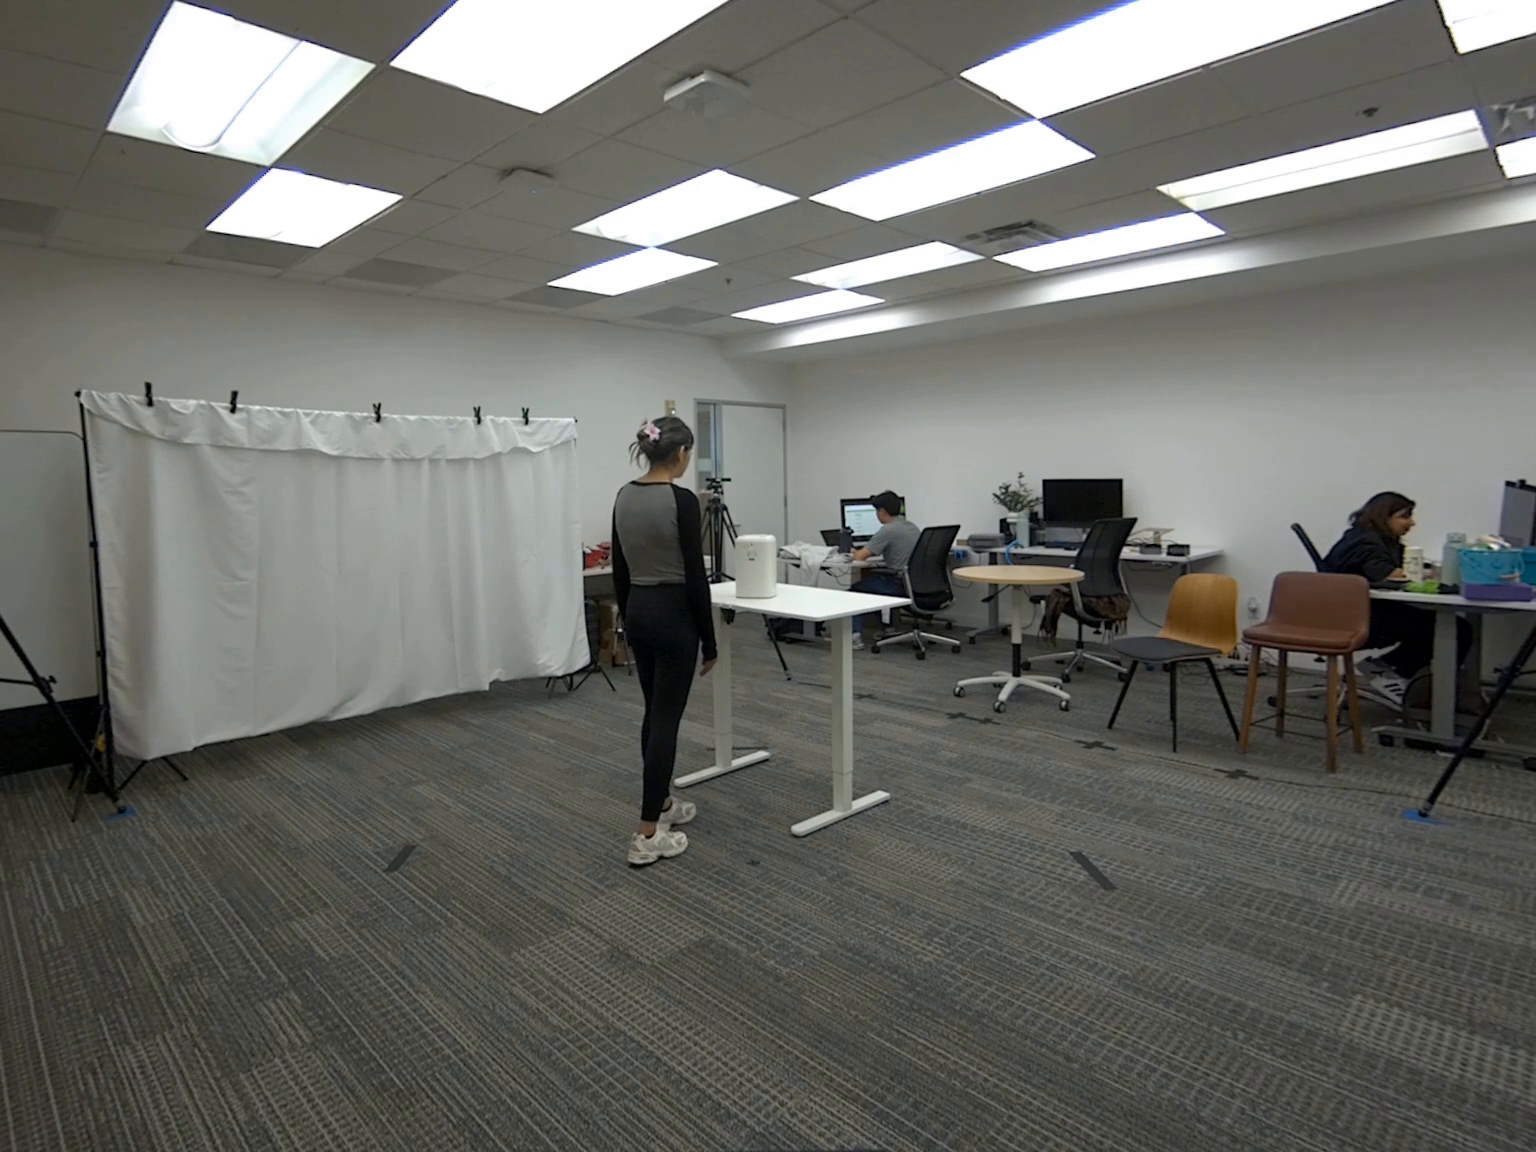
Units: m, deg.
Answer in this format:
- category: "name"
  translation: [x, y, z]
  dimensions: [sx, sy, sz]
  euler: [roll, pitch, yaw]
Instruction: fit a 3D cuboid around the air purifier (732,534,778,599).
- category: "air purifier"
  translation: [-0.053, -0.045, 3.743]
  dimensions: [0.173, 0.264, 0.170]
  euler: [0, 5, 14]
